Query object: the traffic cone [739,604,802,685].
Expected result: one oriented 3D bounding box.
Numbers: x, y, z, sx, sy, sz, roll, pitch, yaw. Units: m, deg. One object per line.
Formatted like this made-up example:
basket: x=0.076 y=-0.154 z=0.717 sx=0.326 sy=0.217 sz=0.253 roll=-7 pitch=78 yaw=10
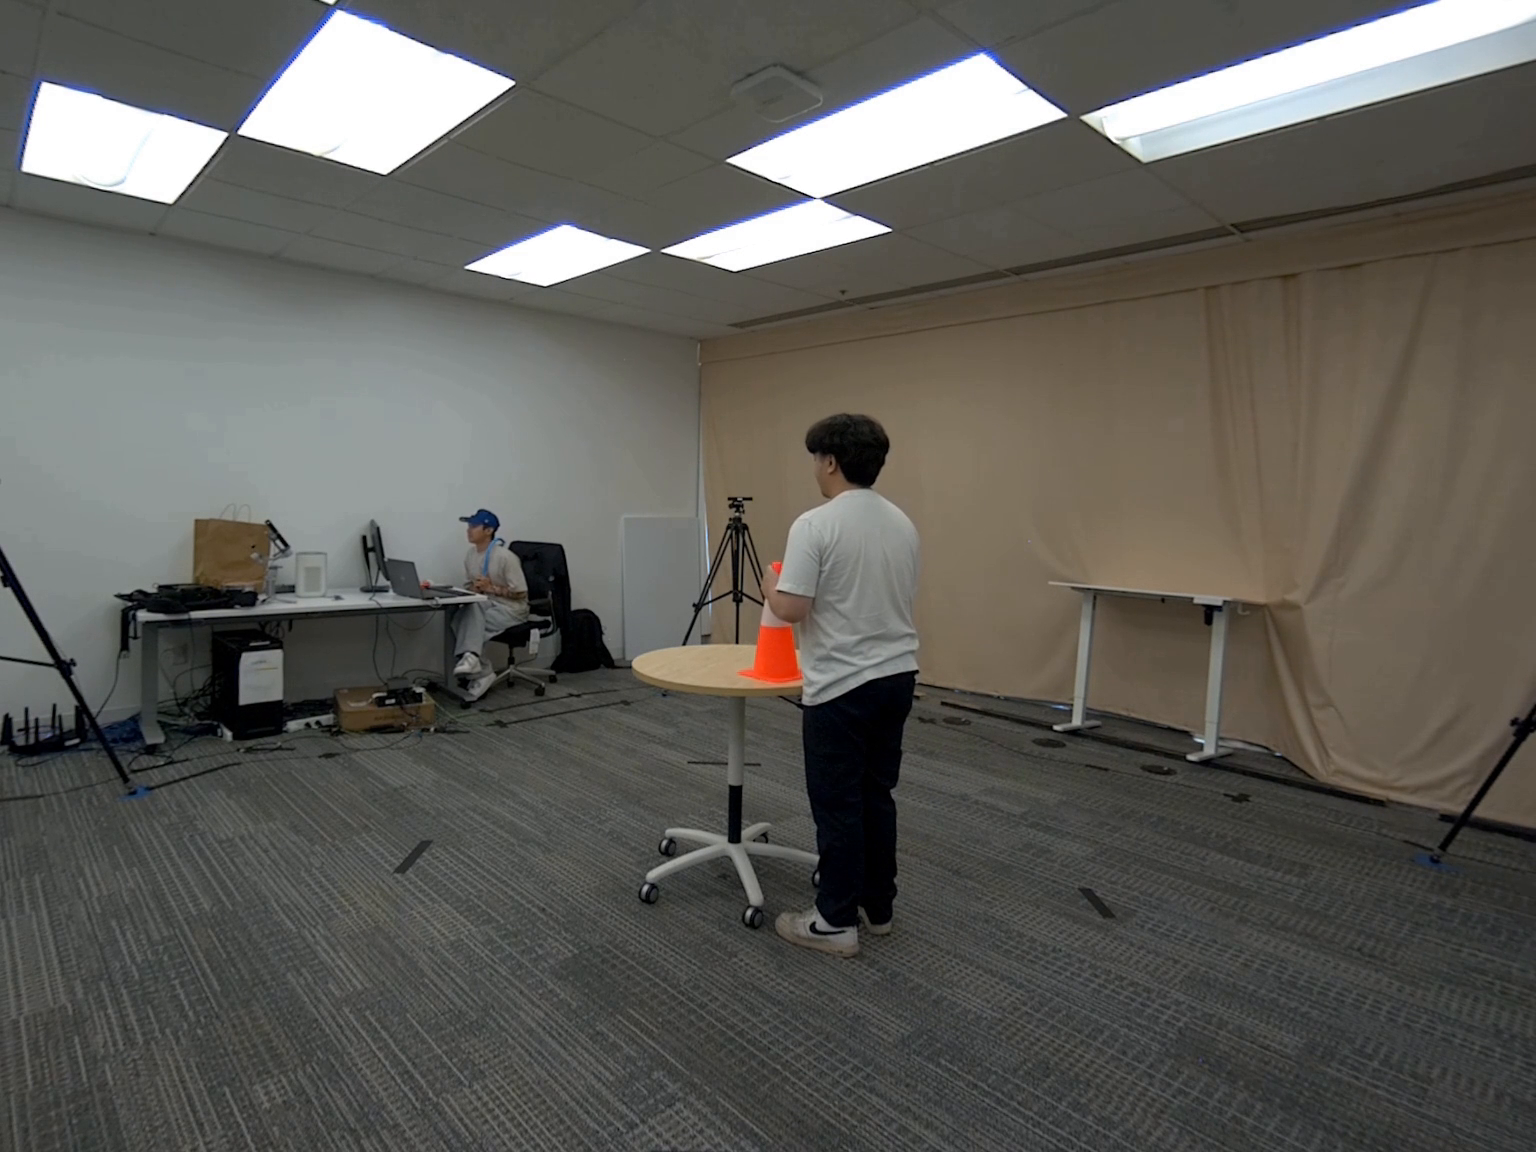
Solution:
traffic cone: x=0.029 y=0.145 z=2.847 sx=0.208 sy=0.381 sz=0.202 roll=5 pitch=9 yaw=27
